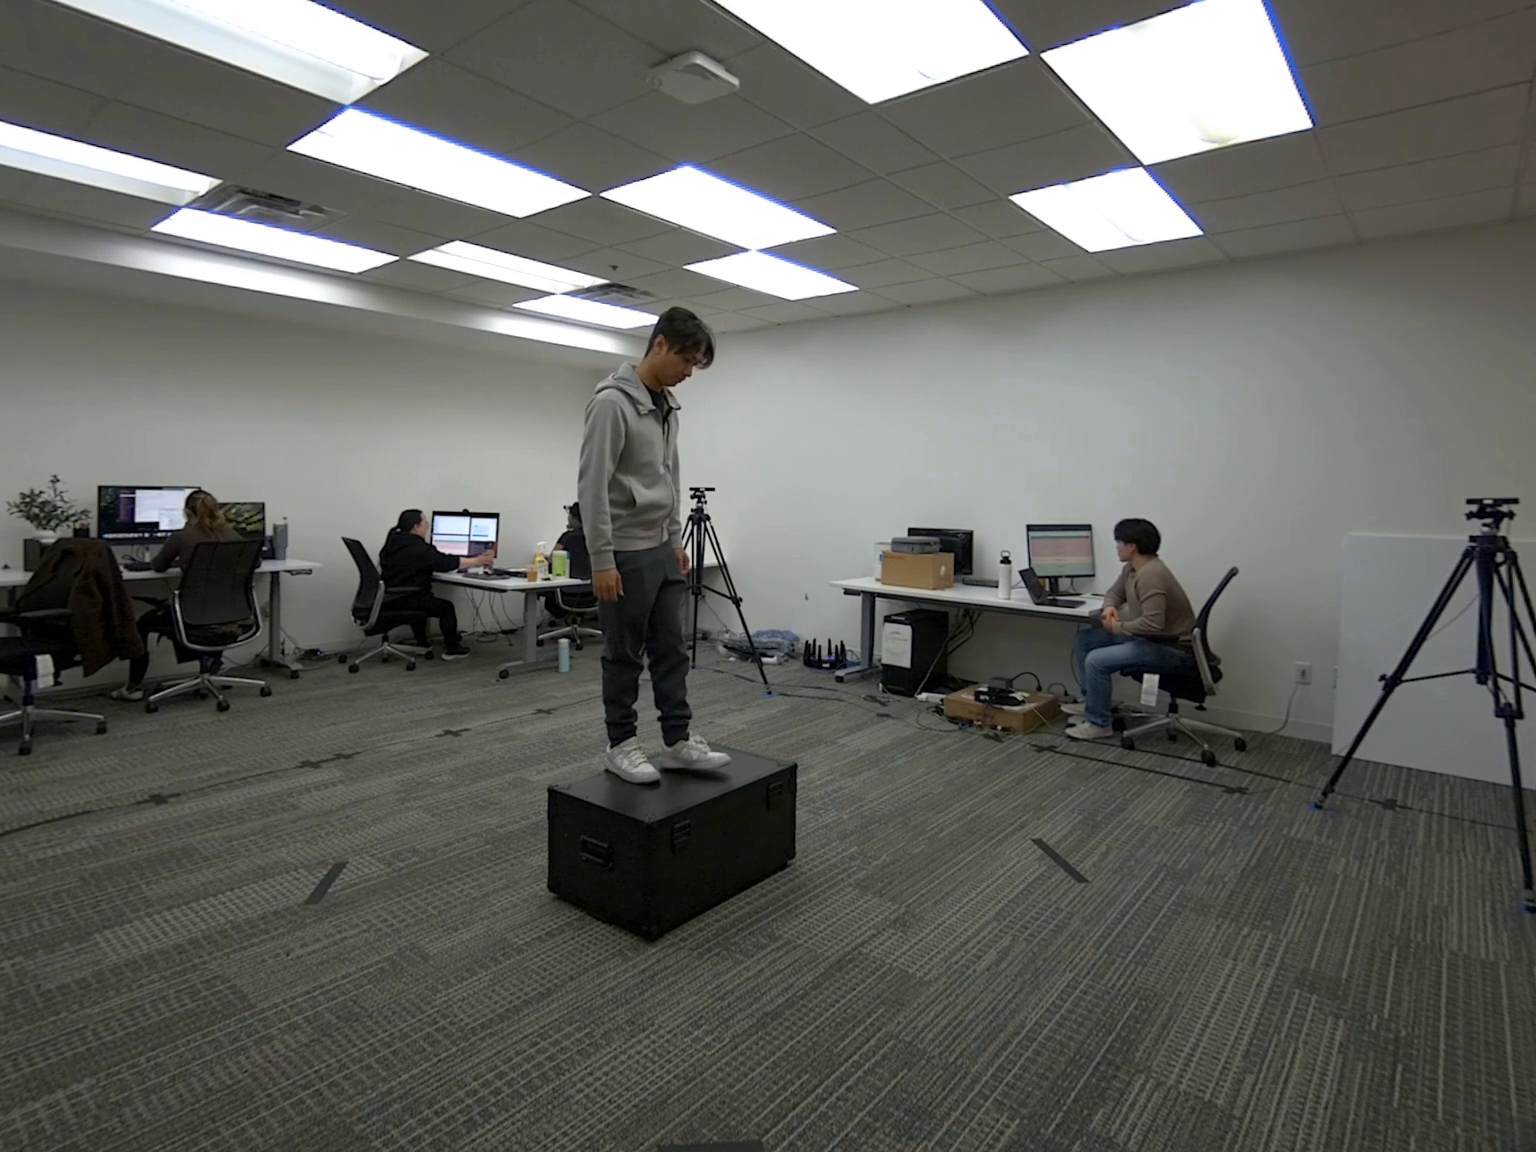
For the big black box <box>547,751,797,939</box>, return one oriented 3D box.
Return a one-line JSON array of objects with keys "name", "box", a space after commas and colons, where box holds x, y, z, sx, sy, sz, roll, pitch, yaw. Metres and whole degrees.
[{"name": "big black box", "box": [-0.306, 0.882, 3.031, 0.538, 0.395, 0.837, 4, 6, 37]}]
